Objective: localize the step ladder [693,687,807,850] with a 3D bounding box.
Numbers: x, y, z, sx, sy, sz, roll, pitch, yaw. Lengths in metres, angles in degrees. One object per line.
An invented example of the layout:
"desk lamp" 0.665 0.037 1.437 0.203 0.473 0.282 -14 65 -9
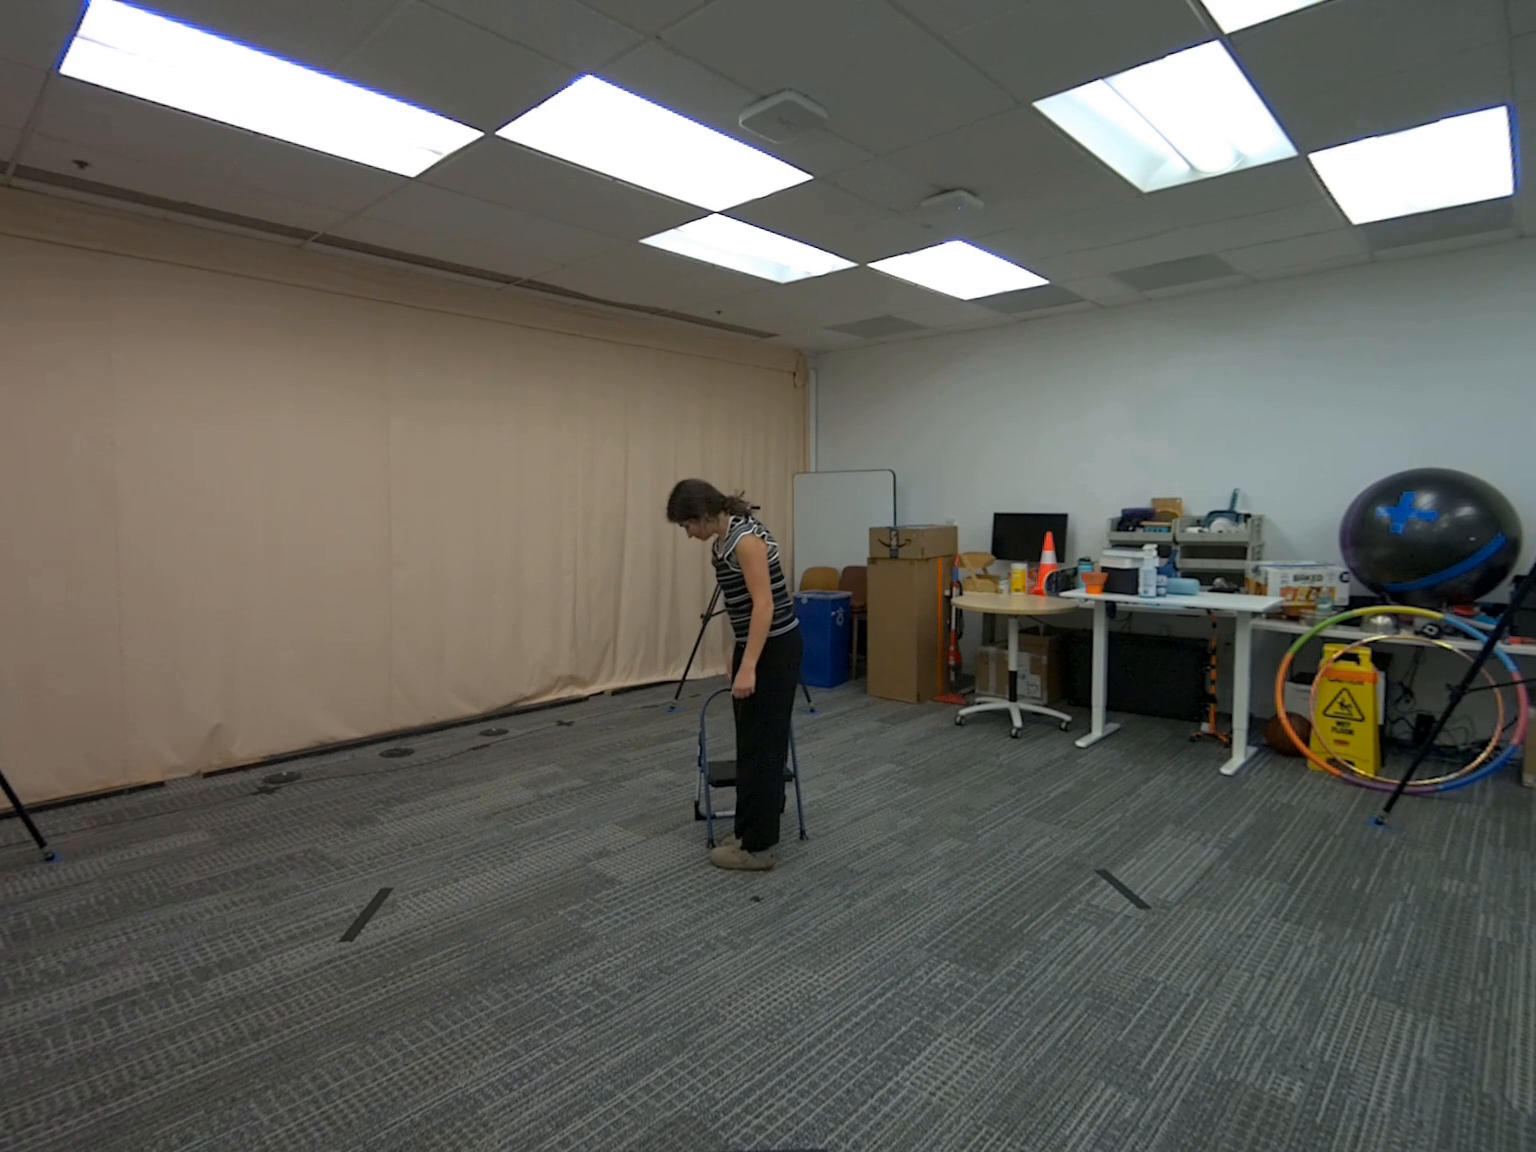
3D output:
"step ladder" -0.080 0.791 3.623 0.424 0.605 0.355 -1 4 -14
